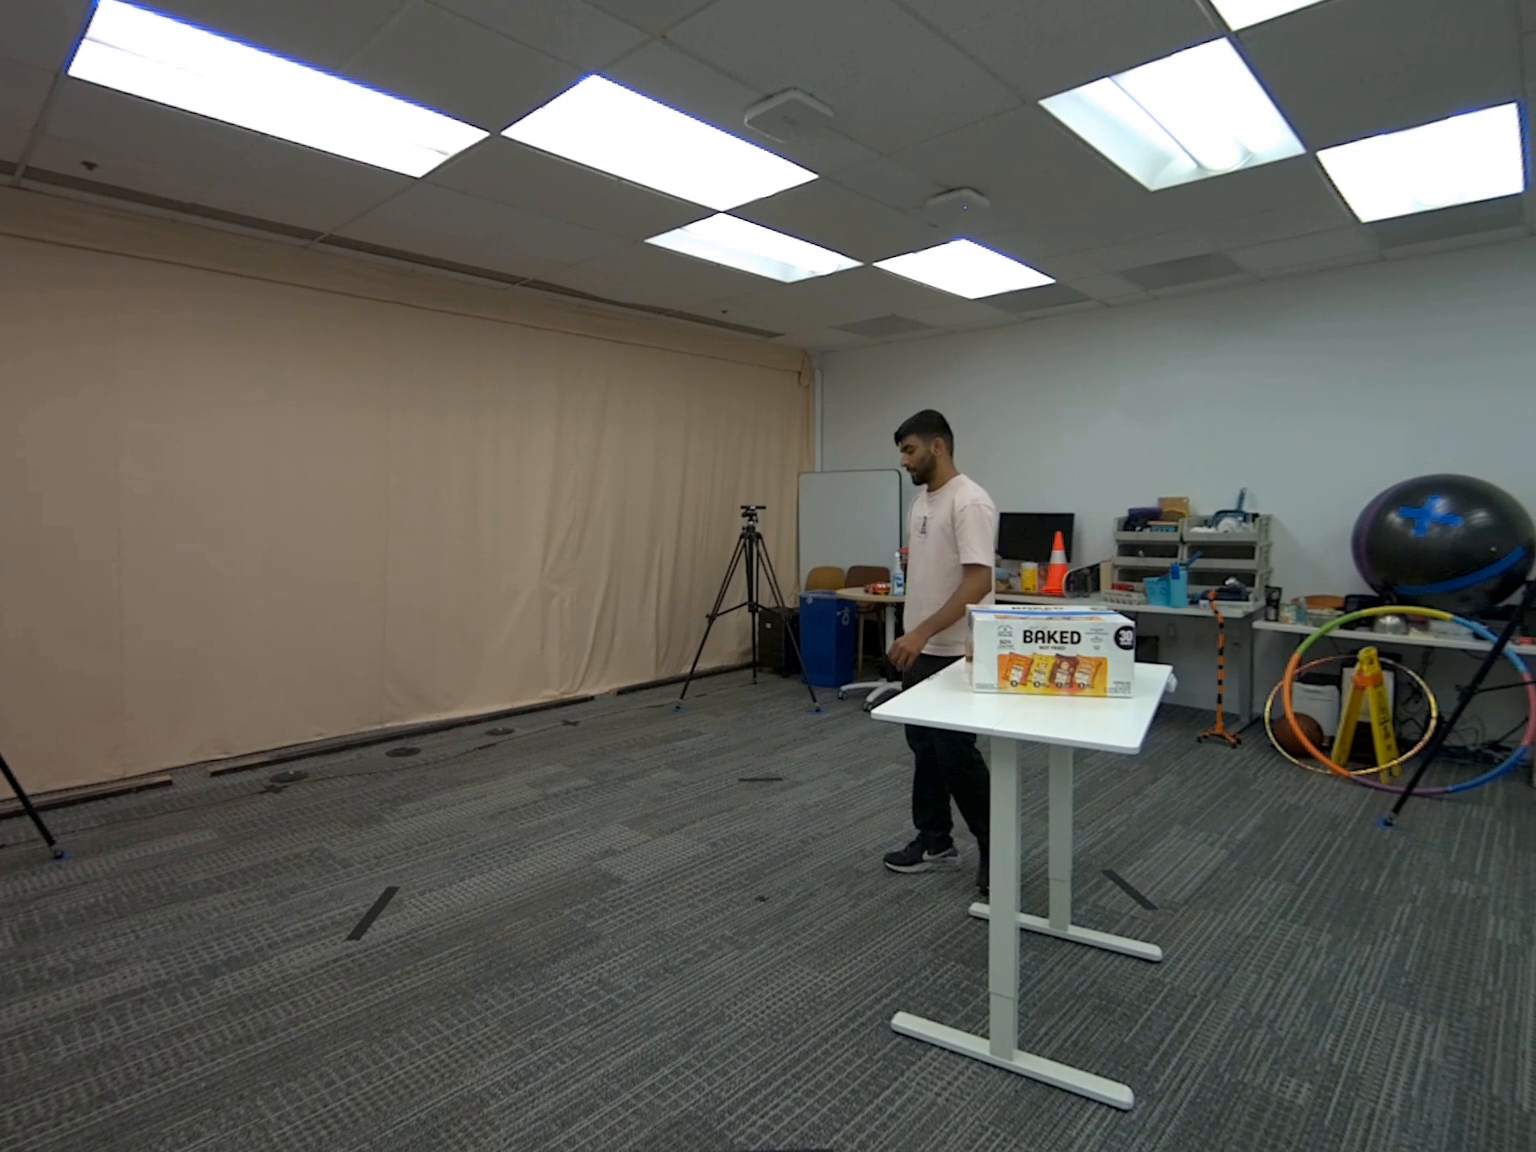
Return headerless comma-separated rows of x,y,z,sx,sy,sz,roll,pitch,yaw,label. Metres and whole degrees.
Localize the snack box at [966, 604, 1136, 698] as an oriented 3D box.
0.786,0.204,2.408,0.411,0.205,0.337,1,5,12,snack box
